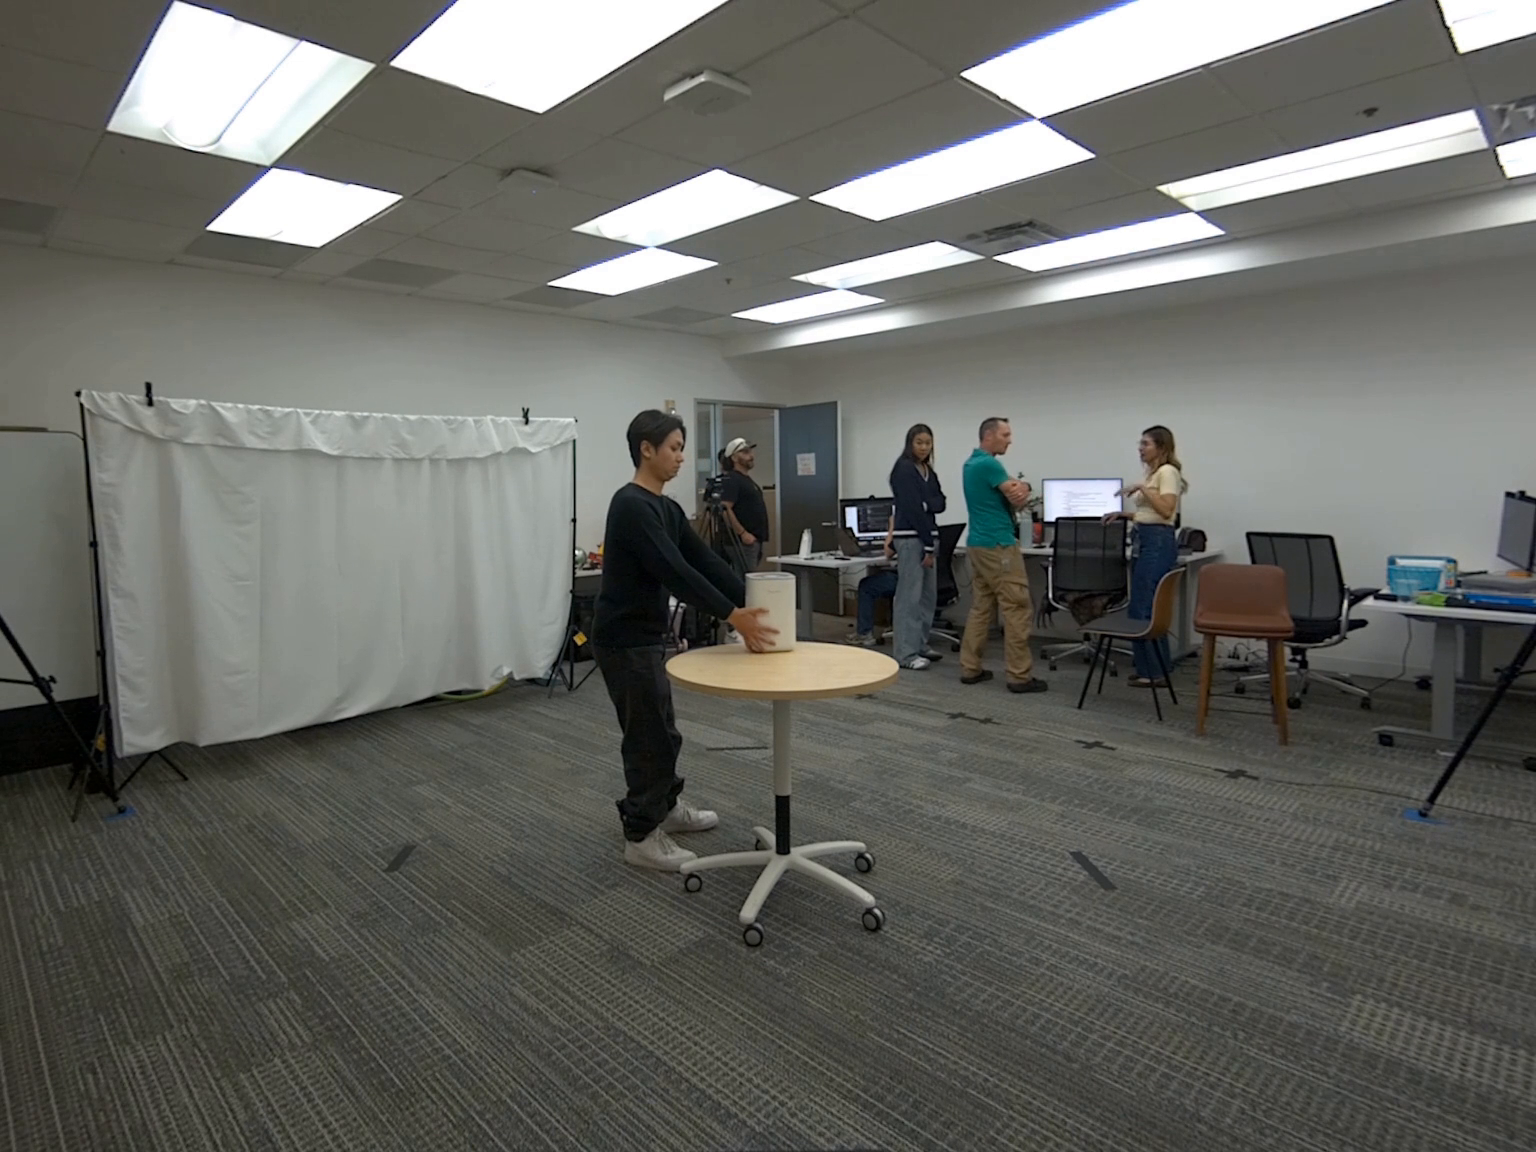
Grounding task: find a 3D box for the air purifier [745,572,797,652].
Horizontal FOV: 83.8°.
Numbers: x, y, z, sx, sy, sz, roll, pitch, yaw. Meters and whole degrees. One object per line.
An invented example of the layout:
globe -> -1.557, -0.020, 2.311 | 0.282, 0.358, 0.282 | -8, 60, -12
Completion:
air purifier -> 0.005, 0.128, 3.065 | 0.170, 0.264, 0.173 | -1, 4, -6
